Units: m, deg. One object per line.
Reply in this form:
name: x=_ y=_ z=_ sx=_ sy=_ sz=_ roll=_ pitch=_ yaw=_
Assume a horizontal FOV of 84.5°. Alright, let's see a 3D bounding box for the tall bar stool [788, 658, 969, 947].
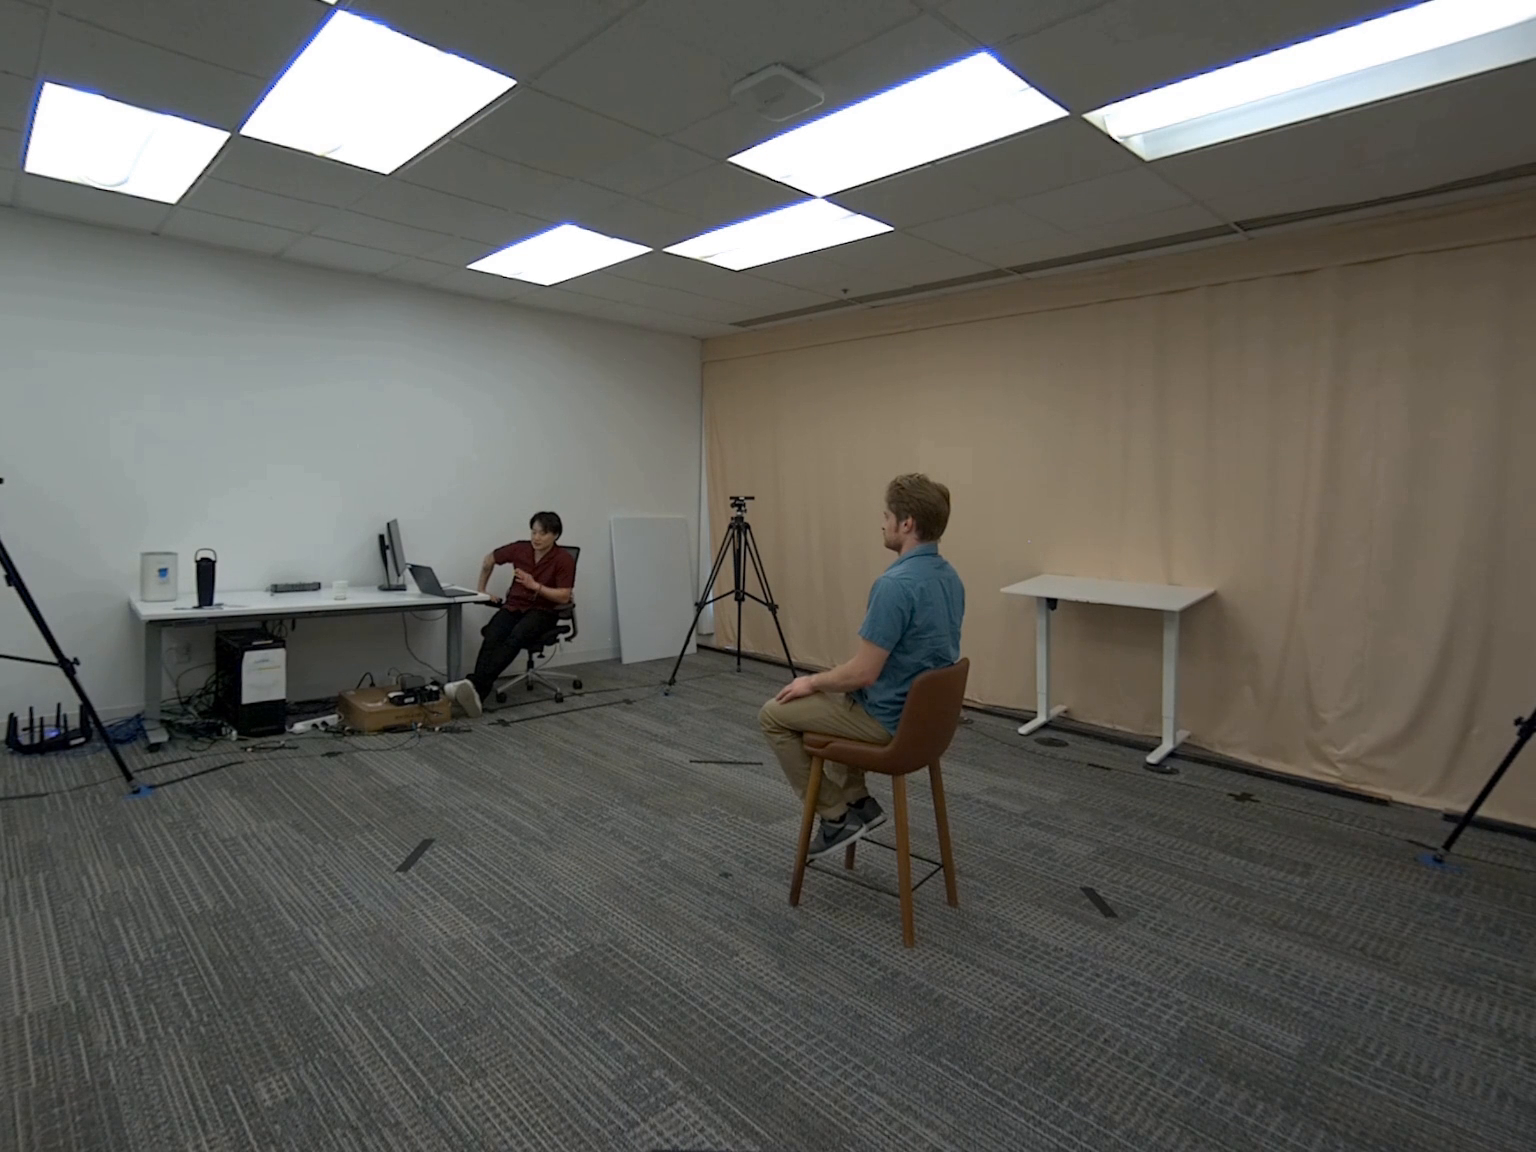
tall bar stool: x=0.385 y=0.701 z=2.872 sx=0.479 sy=0.886 sz=0.447 roll=7 pitch=7 yaw=37
